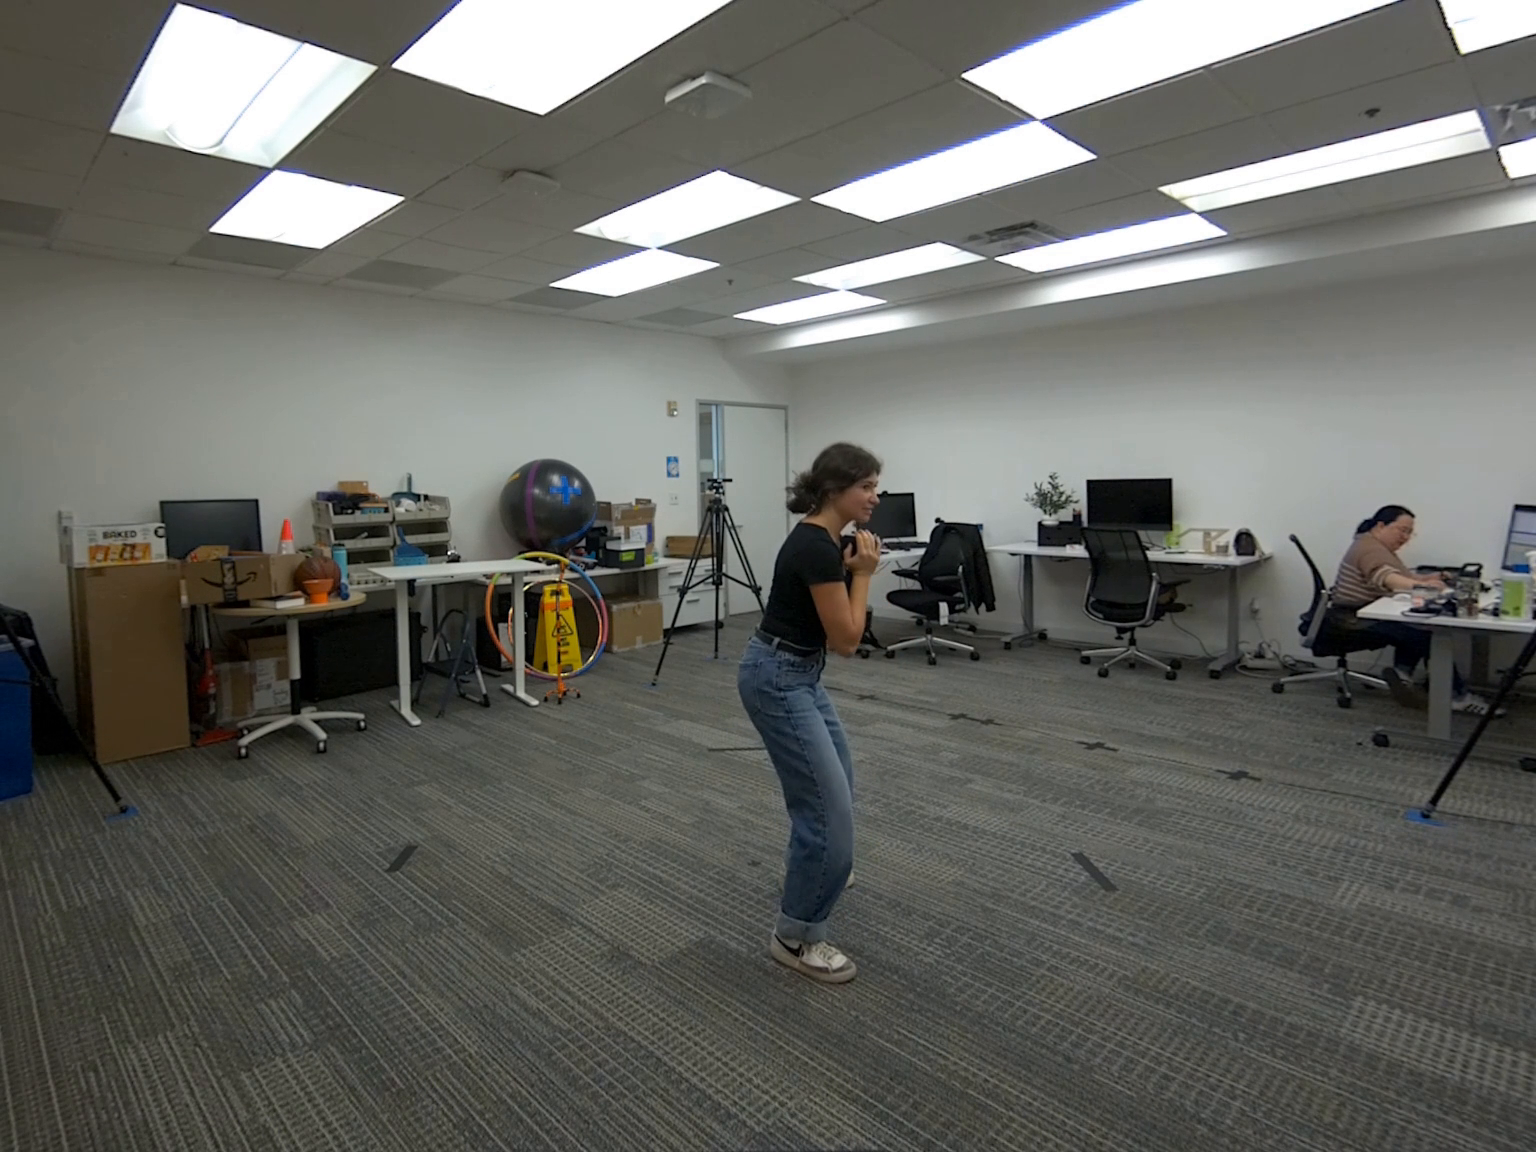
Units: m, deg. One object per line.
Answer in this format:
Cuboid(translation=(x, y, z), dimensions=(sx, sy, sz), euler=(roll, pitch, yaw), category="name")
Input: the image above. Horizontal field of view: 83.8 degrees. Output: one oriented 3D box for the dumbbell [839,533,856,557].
Cuboid(translation=(0.248, 0.032, 2.581), dimensions=(0.126, 0.292, 0.106), euler=(11, 5, 30), category="dumbbell")
